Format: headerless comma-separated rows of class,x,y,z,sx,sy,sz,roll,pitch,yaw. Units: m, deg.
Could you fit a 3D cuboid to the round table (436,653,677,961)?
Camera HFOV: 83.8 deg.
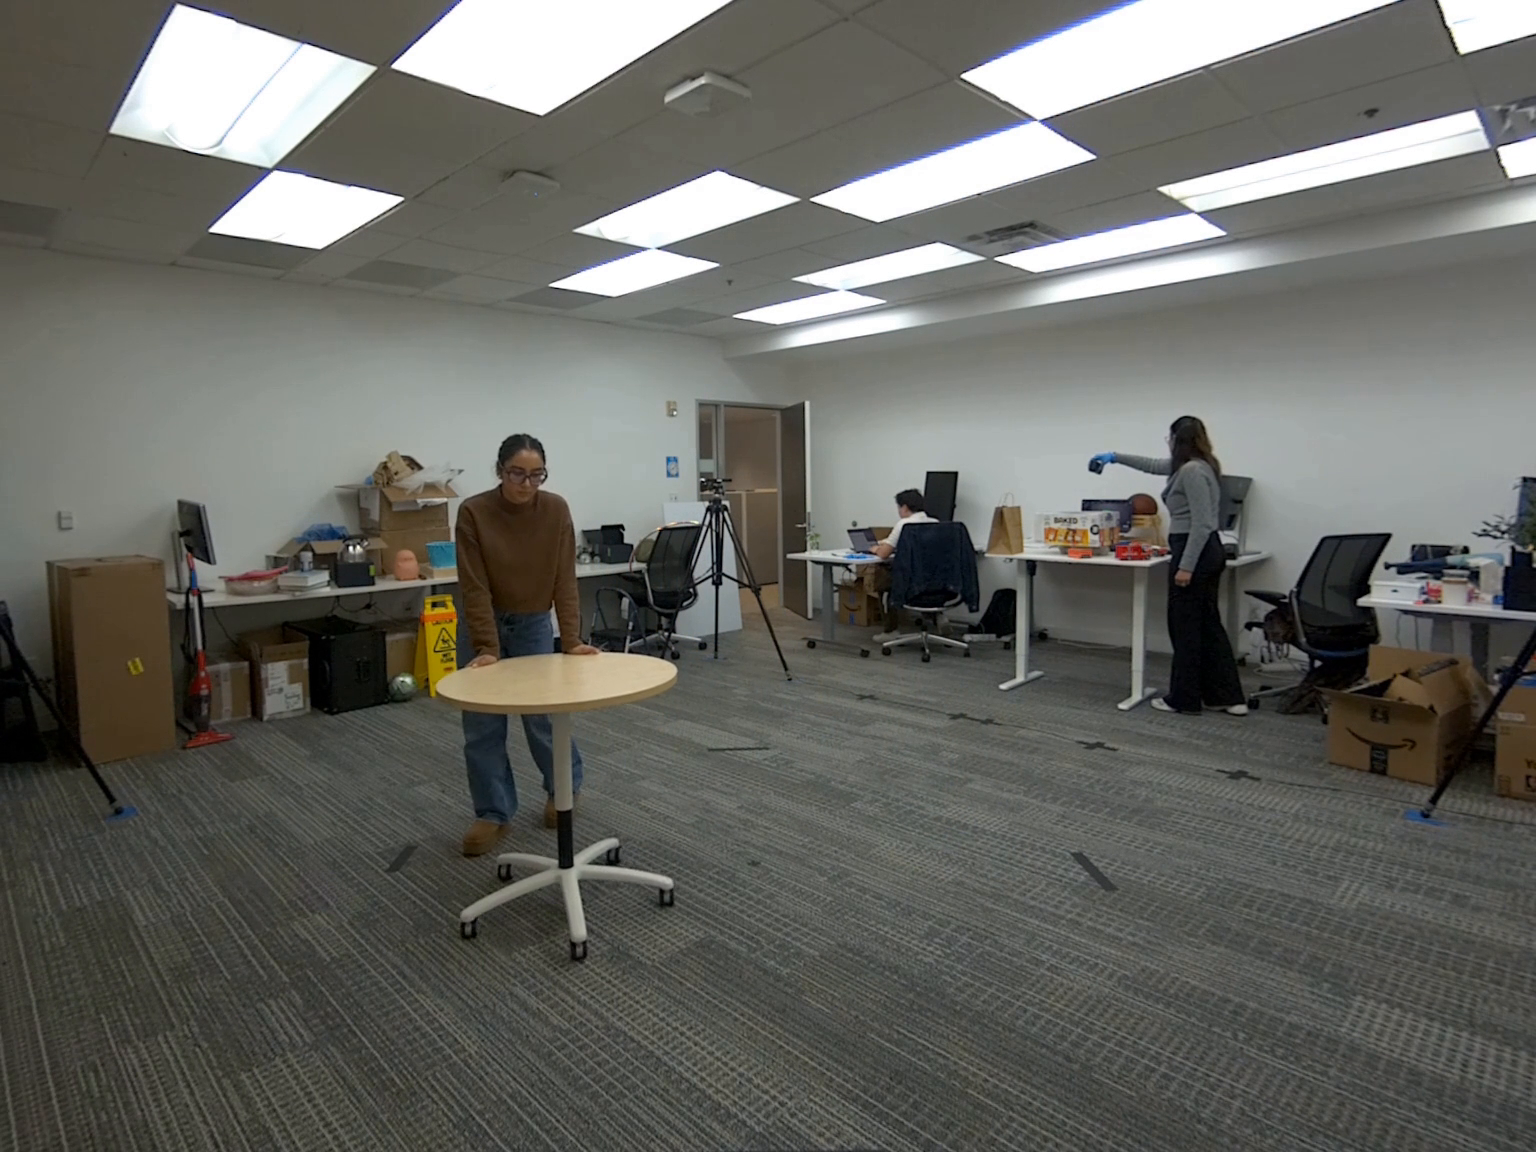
round table,-0.662,0.707,2.795,0.763,0.791,0.767,-2,4,-2
